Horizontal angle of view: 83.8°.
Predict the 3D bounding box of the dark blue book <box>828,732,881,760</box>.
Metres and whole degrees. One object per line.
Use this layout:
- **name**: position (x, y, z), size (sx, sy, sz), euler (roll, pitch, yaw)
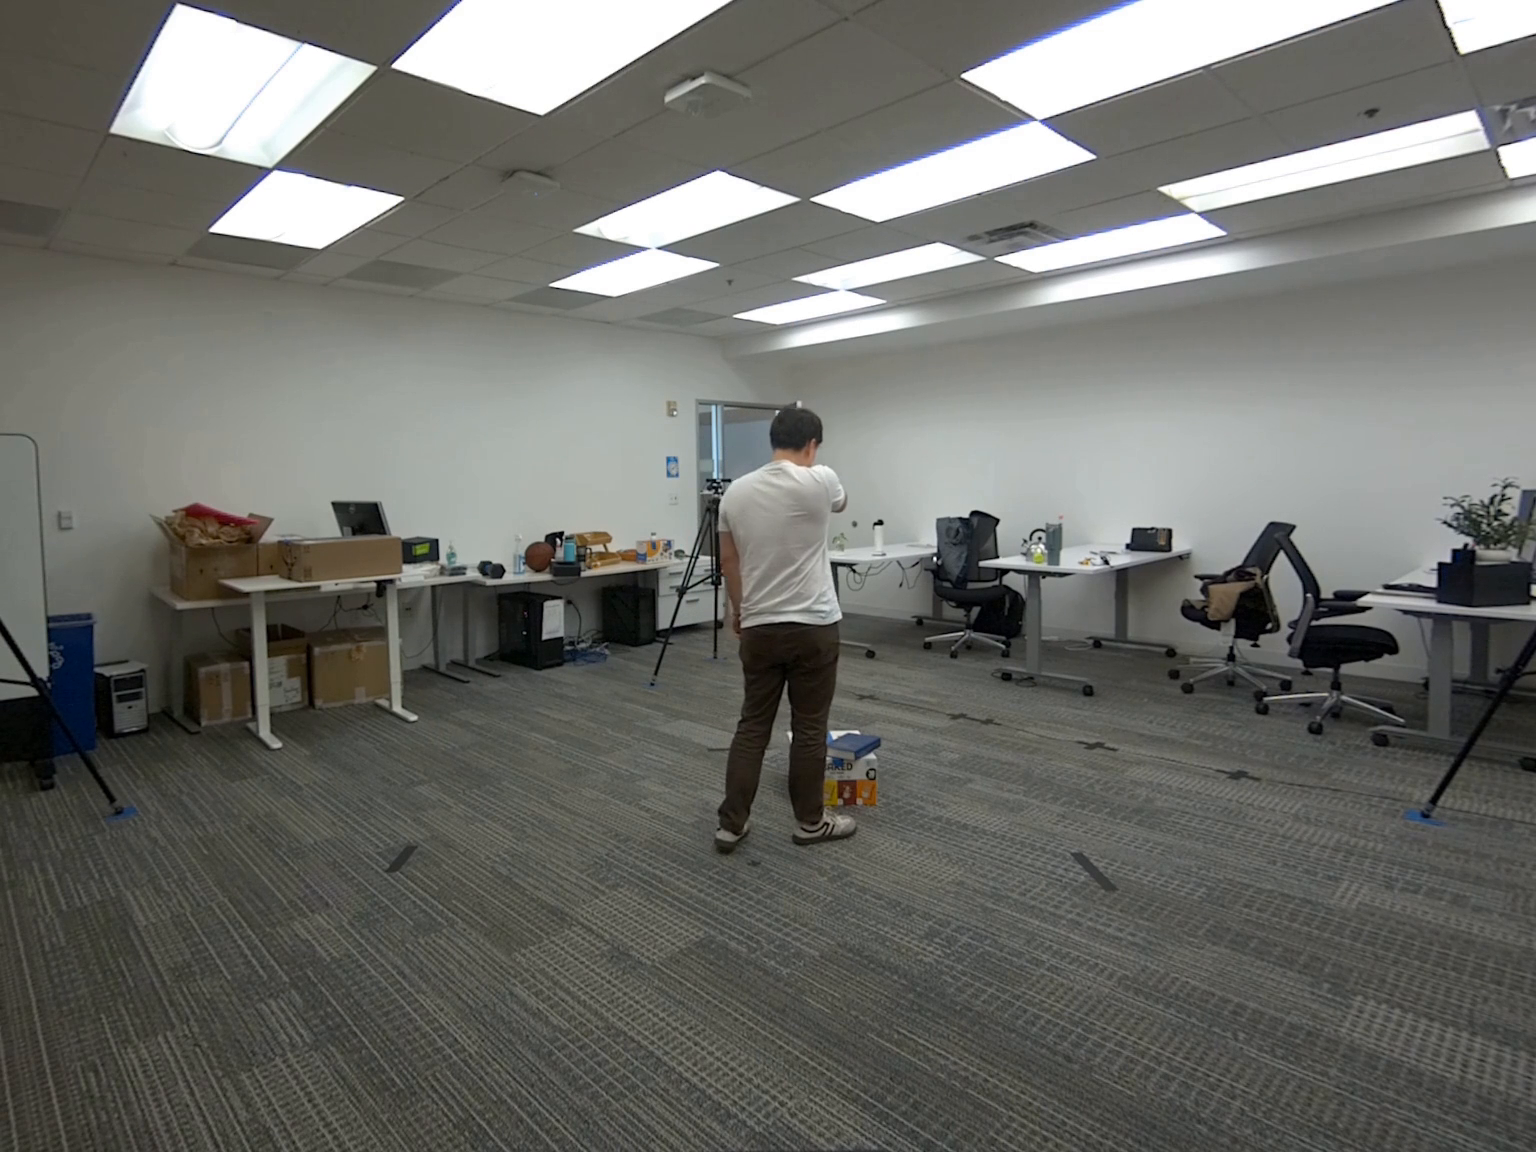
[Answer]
- **dark blue book**: position (0.358, 0.744, 3.735), size (0.168, 0.045, 0.239), euler (2, 7, 35)
